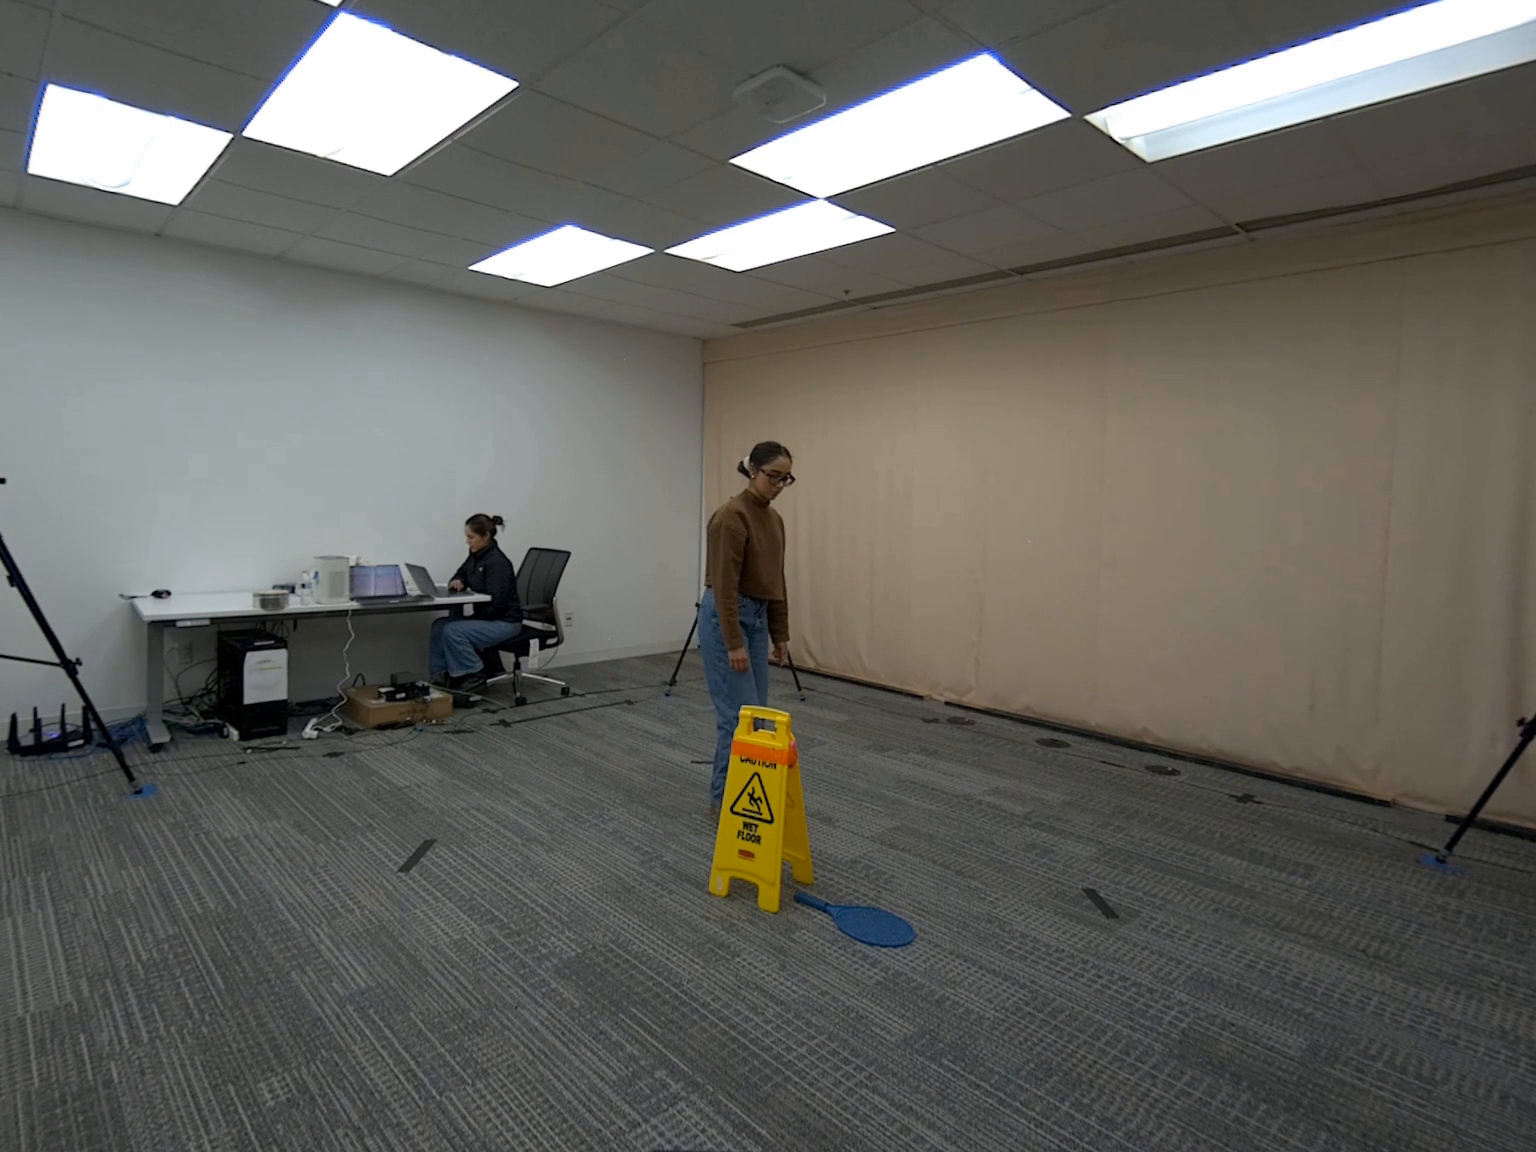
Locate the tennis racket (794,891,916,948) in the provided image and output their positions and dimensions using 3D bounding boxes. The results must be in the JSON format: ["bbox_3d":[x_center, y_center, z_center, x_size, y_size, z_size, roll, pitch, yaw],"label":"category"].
[{"bbox_3d":[0.266,1.129,2.800,0.444,0.031,0.209,7,8,36],"label":"tennis racket"}]
